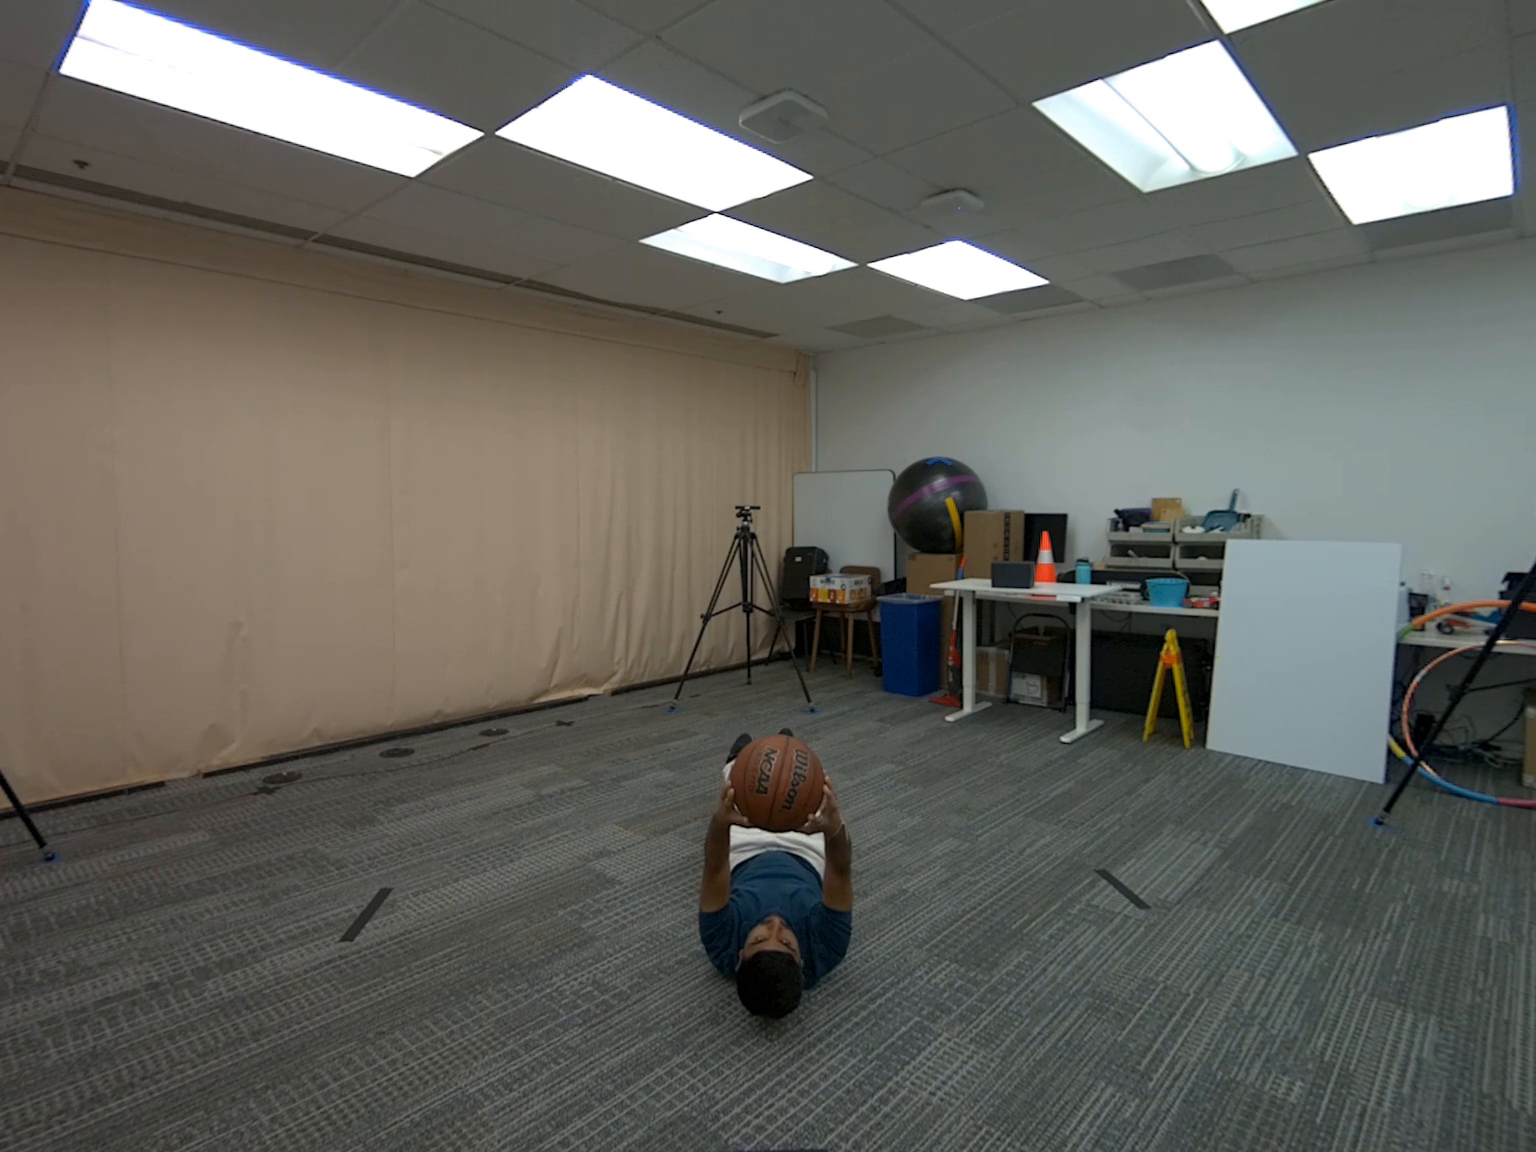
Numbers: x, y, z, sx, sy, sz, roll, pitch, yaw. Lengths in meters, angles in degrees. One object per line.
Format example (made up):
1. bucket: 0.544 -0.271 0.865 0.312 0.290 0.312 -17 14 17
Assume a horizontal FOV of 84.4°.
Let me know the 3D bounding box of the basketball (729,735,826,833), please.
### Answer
1. basketball: 0.031 0.524 2.110 0.236 0.235 0.237 0 4 -2
